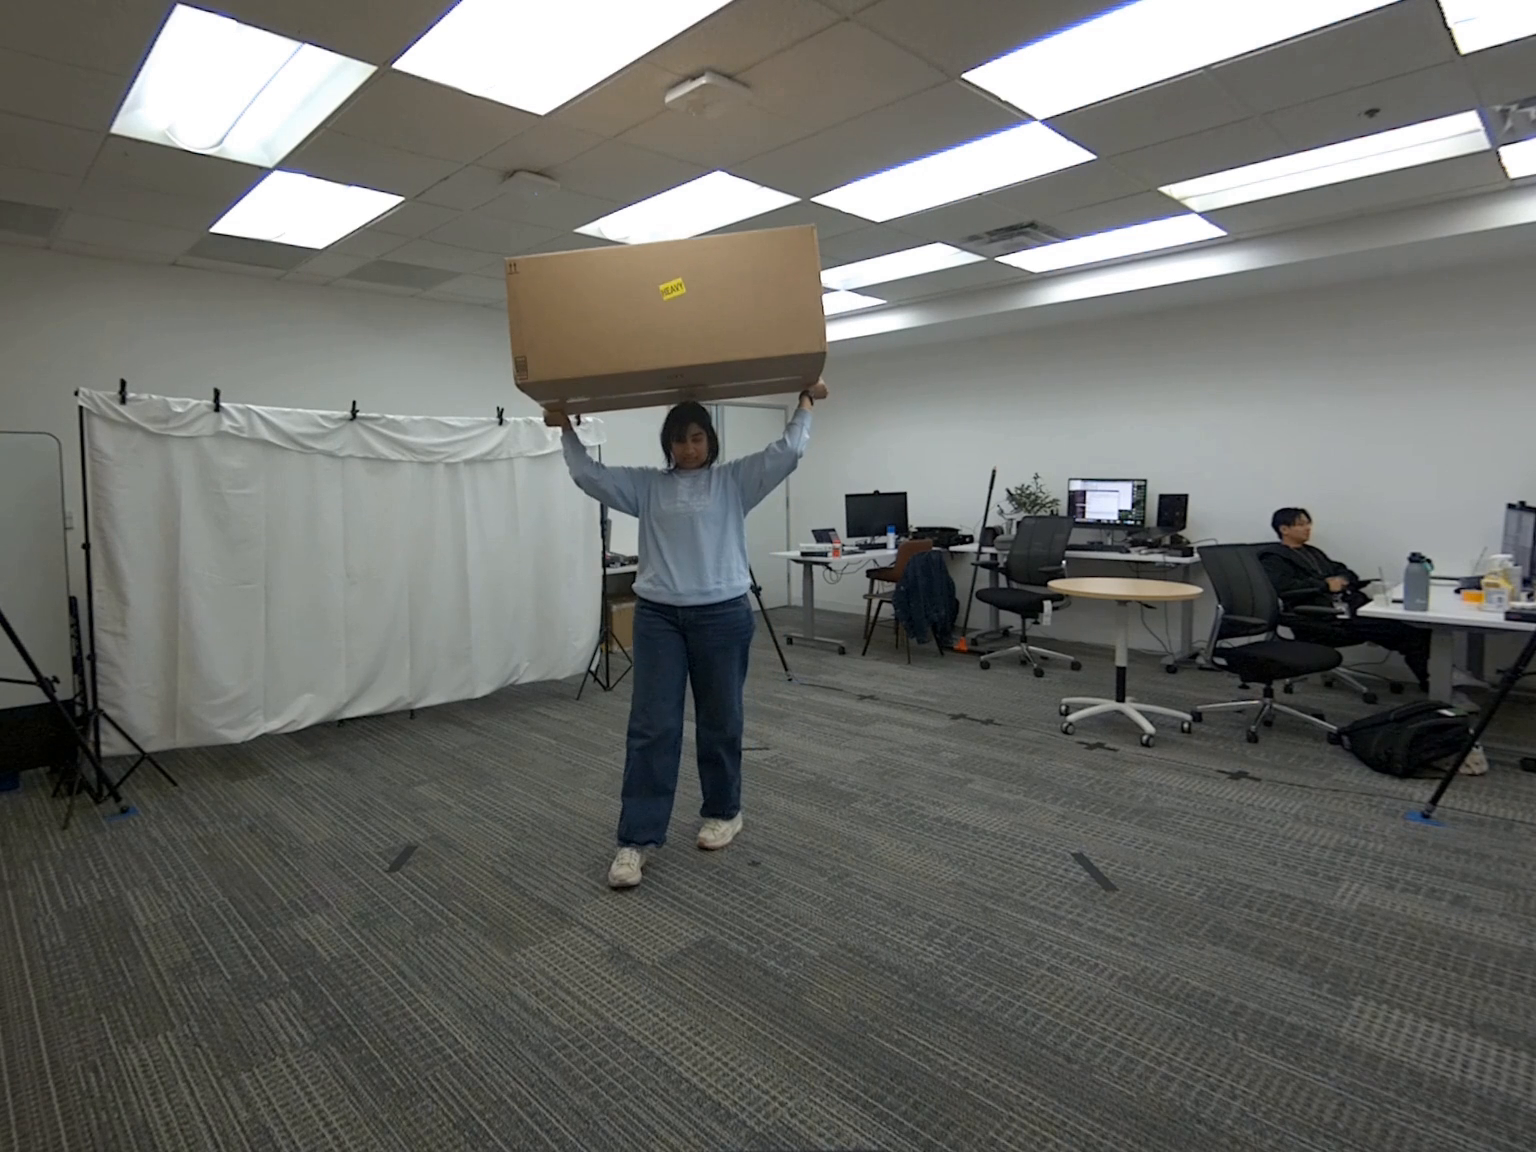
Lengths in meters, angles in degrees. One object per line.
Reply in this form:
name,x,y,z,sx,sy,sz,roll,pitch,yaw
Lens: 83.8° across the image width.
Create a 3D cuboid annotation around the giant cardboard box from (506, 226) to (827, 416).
giant cardboard box,-0.339,-0.883,3.036,1.029,0.427,0.574,-5,-2,3
